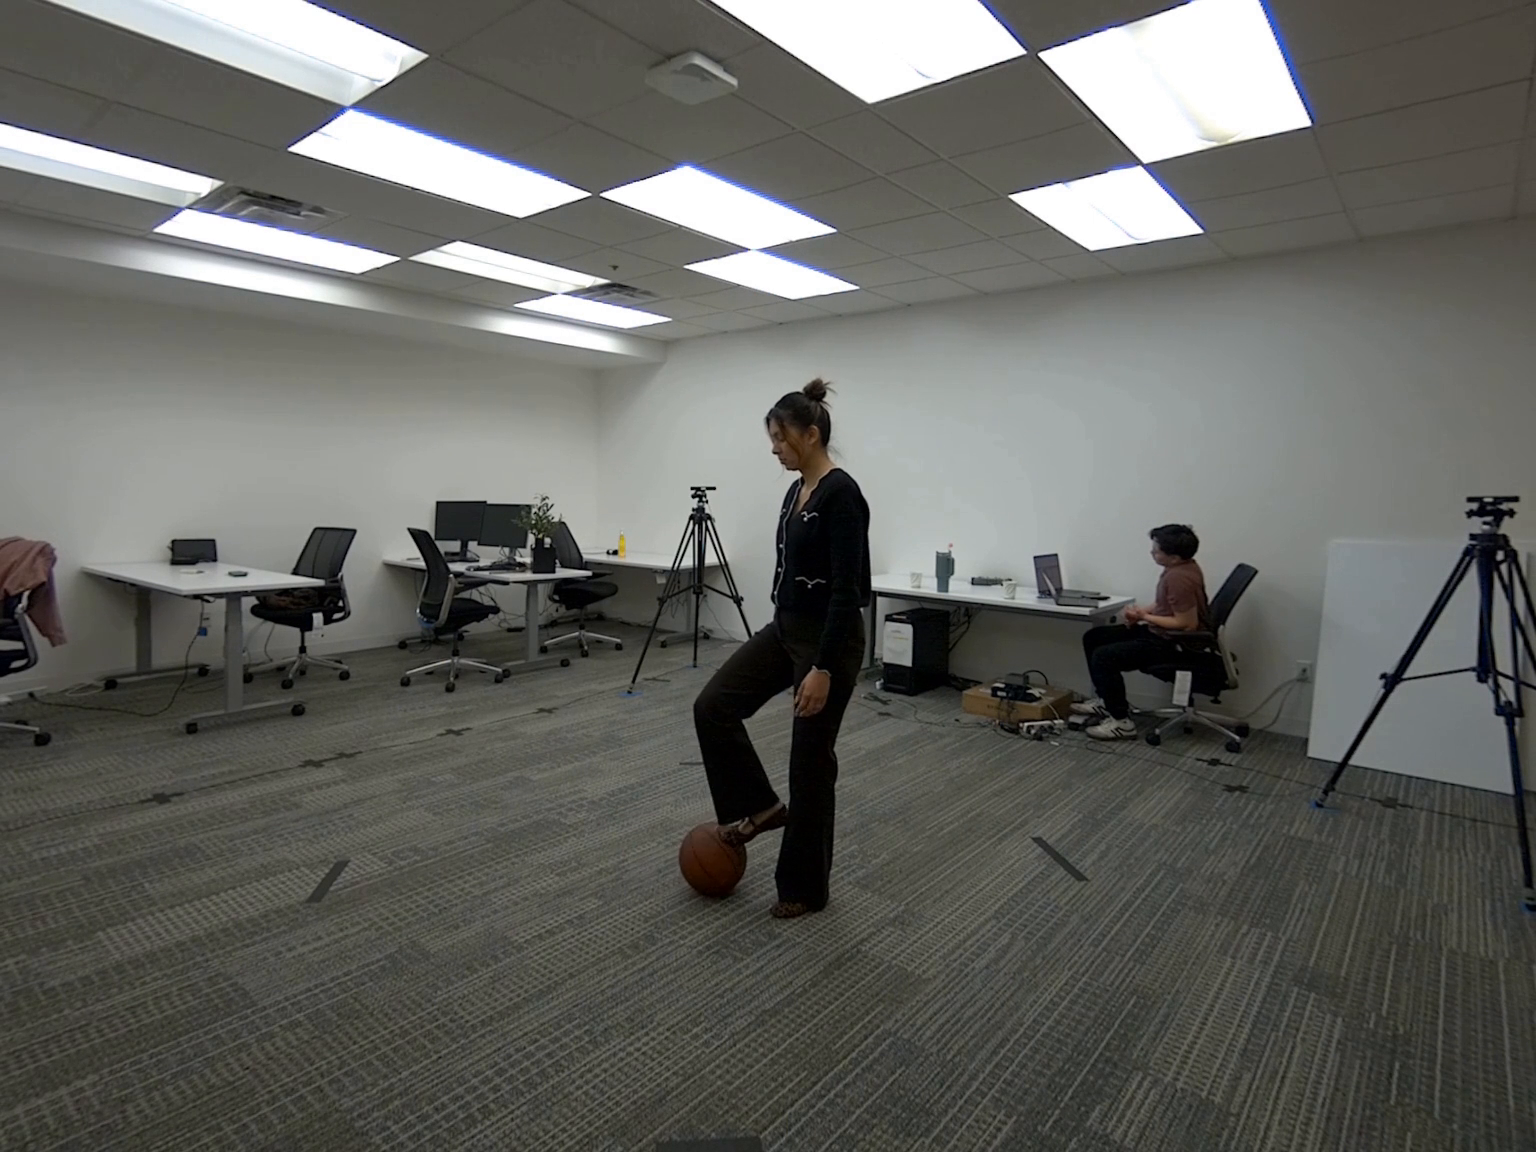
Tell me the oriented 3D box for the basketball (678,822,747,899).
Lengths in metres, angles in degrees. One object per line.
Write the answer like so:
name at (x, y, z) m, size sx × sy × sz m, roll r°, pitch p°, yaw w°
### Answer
basketball at (-0.212, 0.966, 2.939) m, size 0.235 × 0.235 × 0.237 m, roll 1°, pitch 4°, yaw -2°
